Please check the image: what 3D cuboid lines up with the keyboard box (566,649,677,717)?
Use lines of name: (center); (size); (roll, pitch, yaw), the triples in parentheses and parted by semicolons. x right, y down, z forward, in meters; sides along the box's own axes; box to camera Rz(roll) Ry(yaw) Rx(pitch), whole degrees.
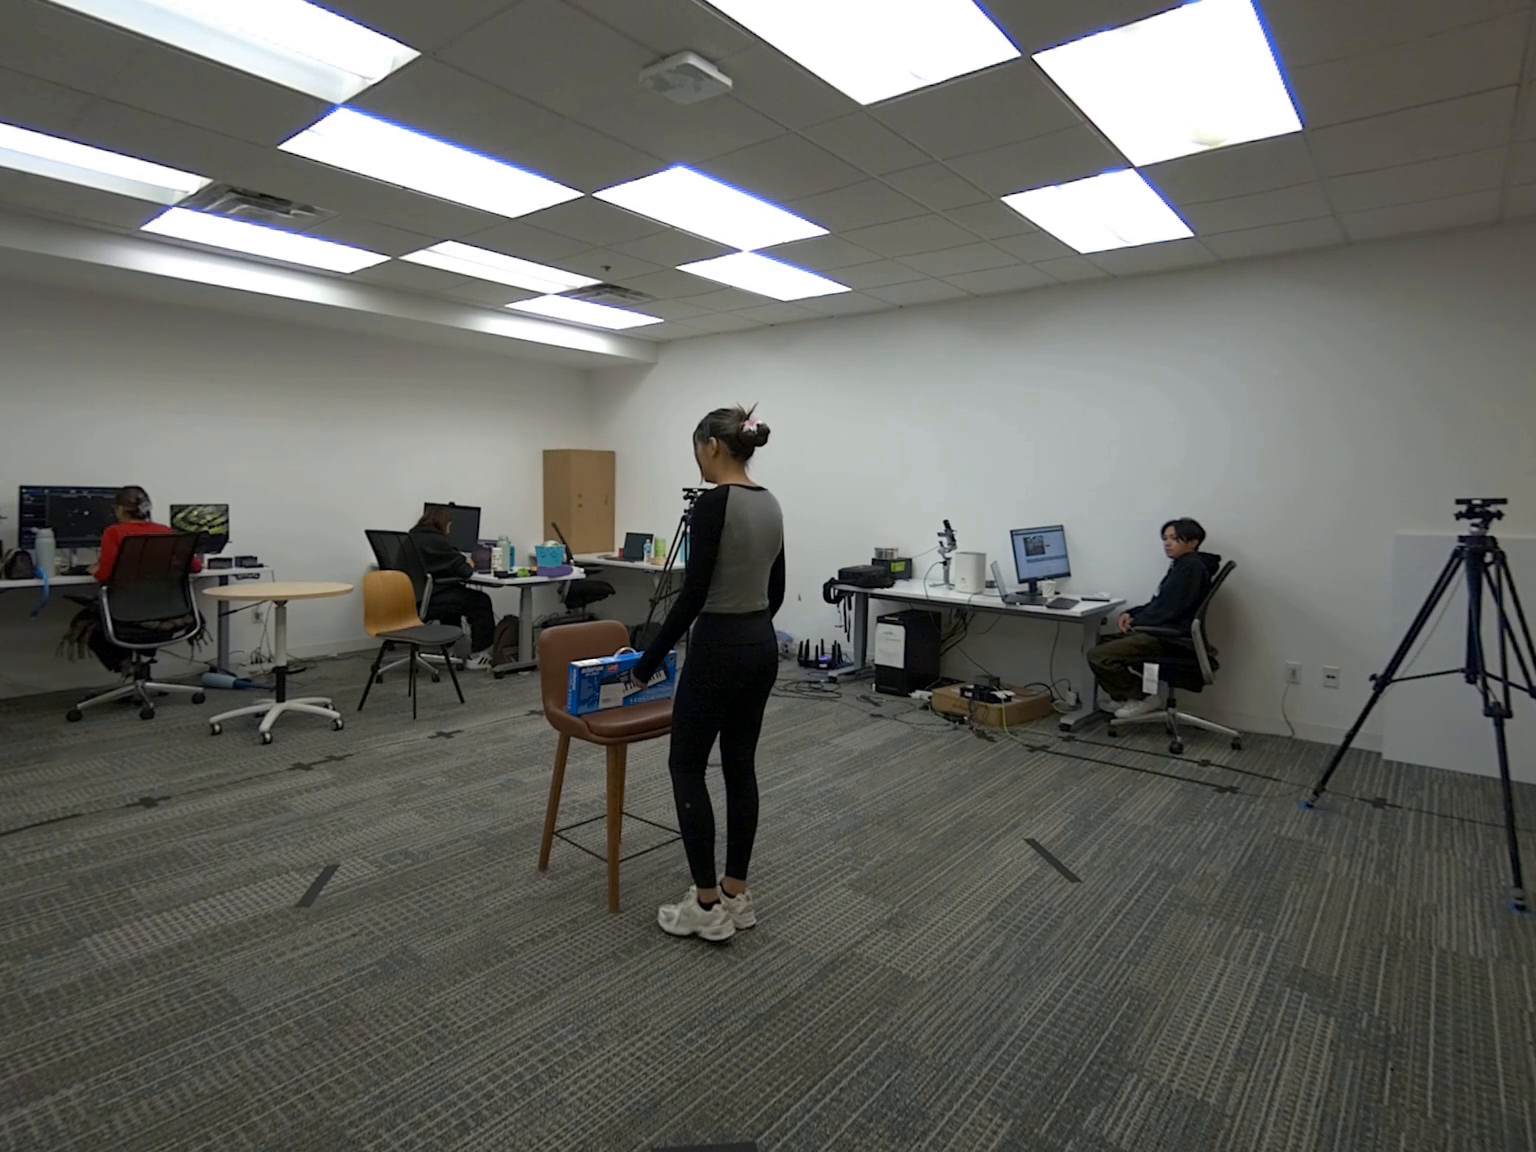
keyboard box: (-0.525, 0.371, 3.032); (0.424, 0.175, 0.061); (-4, 12, -44)
